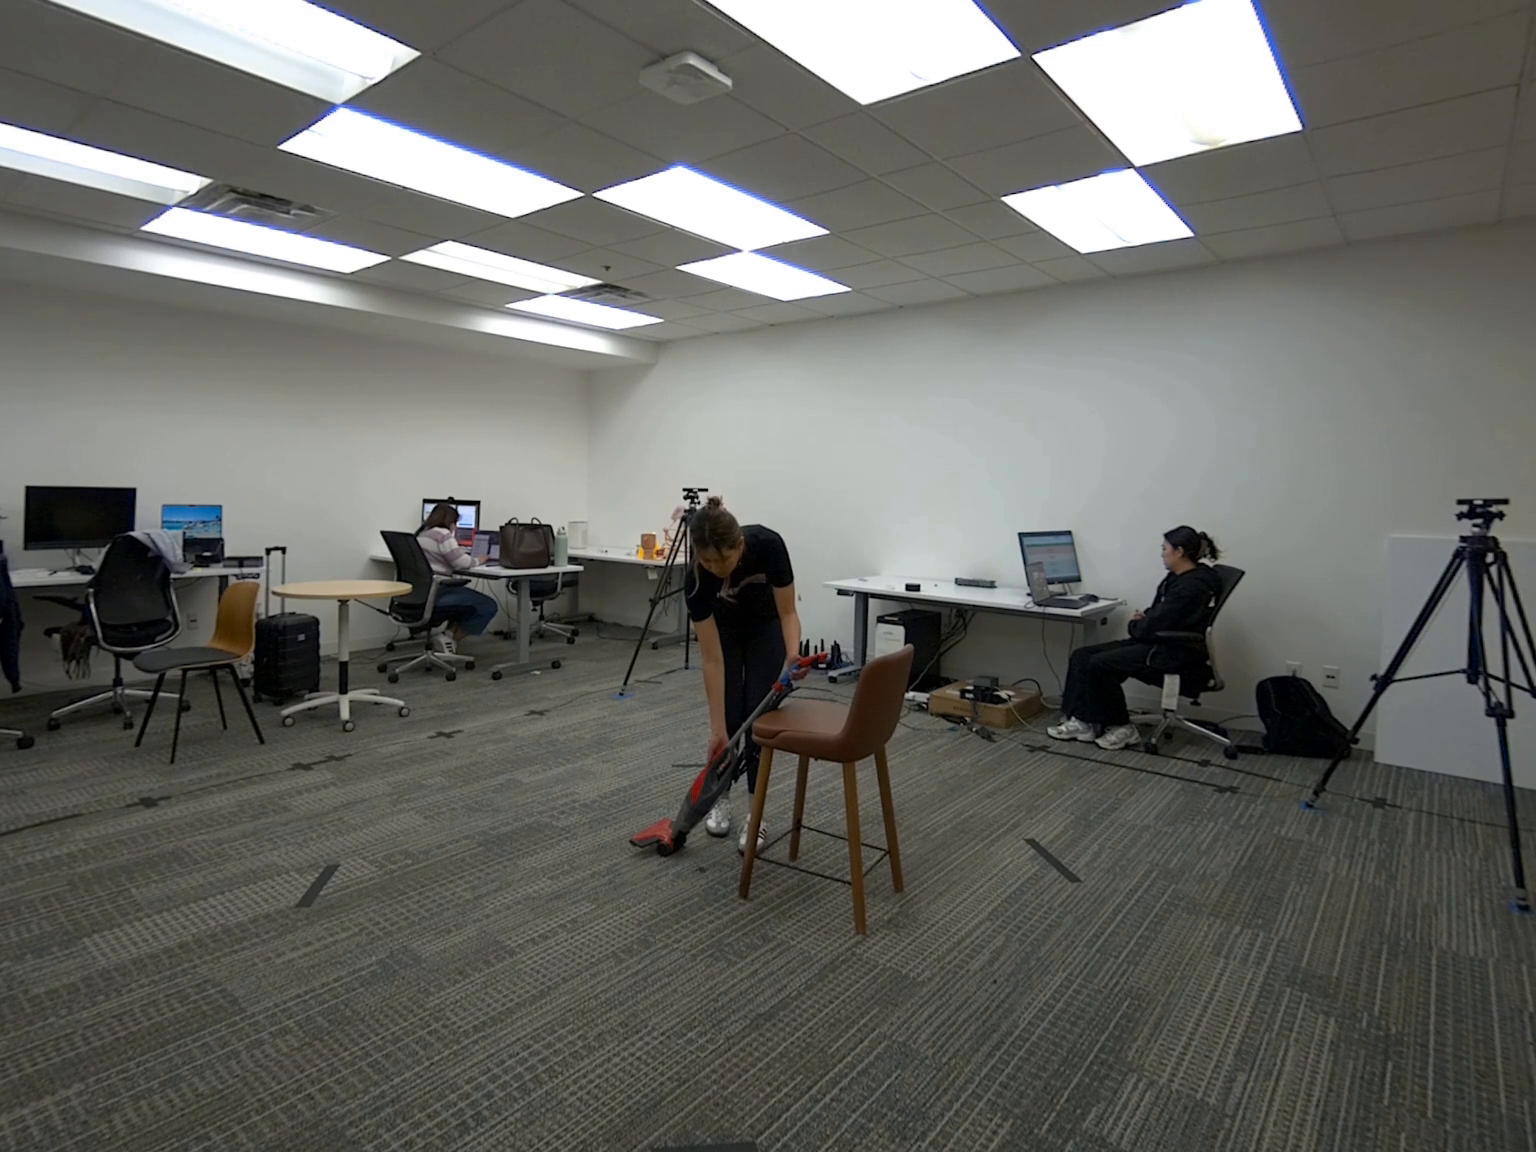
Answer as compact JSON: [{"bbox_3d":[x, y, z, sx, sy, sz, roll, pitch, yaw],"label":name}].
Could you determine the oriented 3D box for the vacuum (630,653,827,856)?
[{"bbox_3d":[-0.126,0.650,3.099,0.148,1.047,0.246,48,23,20],"label":"vacuum"}]
